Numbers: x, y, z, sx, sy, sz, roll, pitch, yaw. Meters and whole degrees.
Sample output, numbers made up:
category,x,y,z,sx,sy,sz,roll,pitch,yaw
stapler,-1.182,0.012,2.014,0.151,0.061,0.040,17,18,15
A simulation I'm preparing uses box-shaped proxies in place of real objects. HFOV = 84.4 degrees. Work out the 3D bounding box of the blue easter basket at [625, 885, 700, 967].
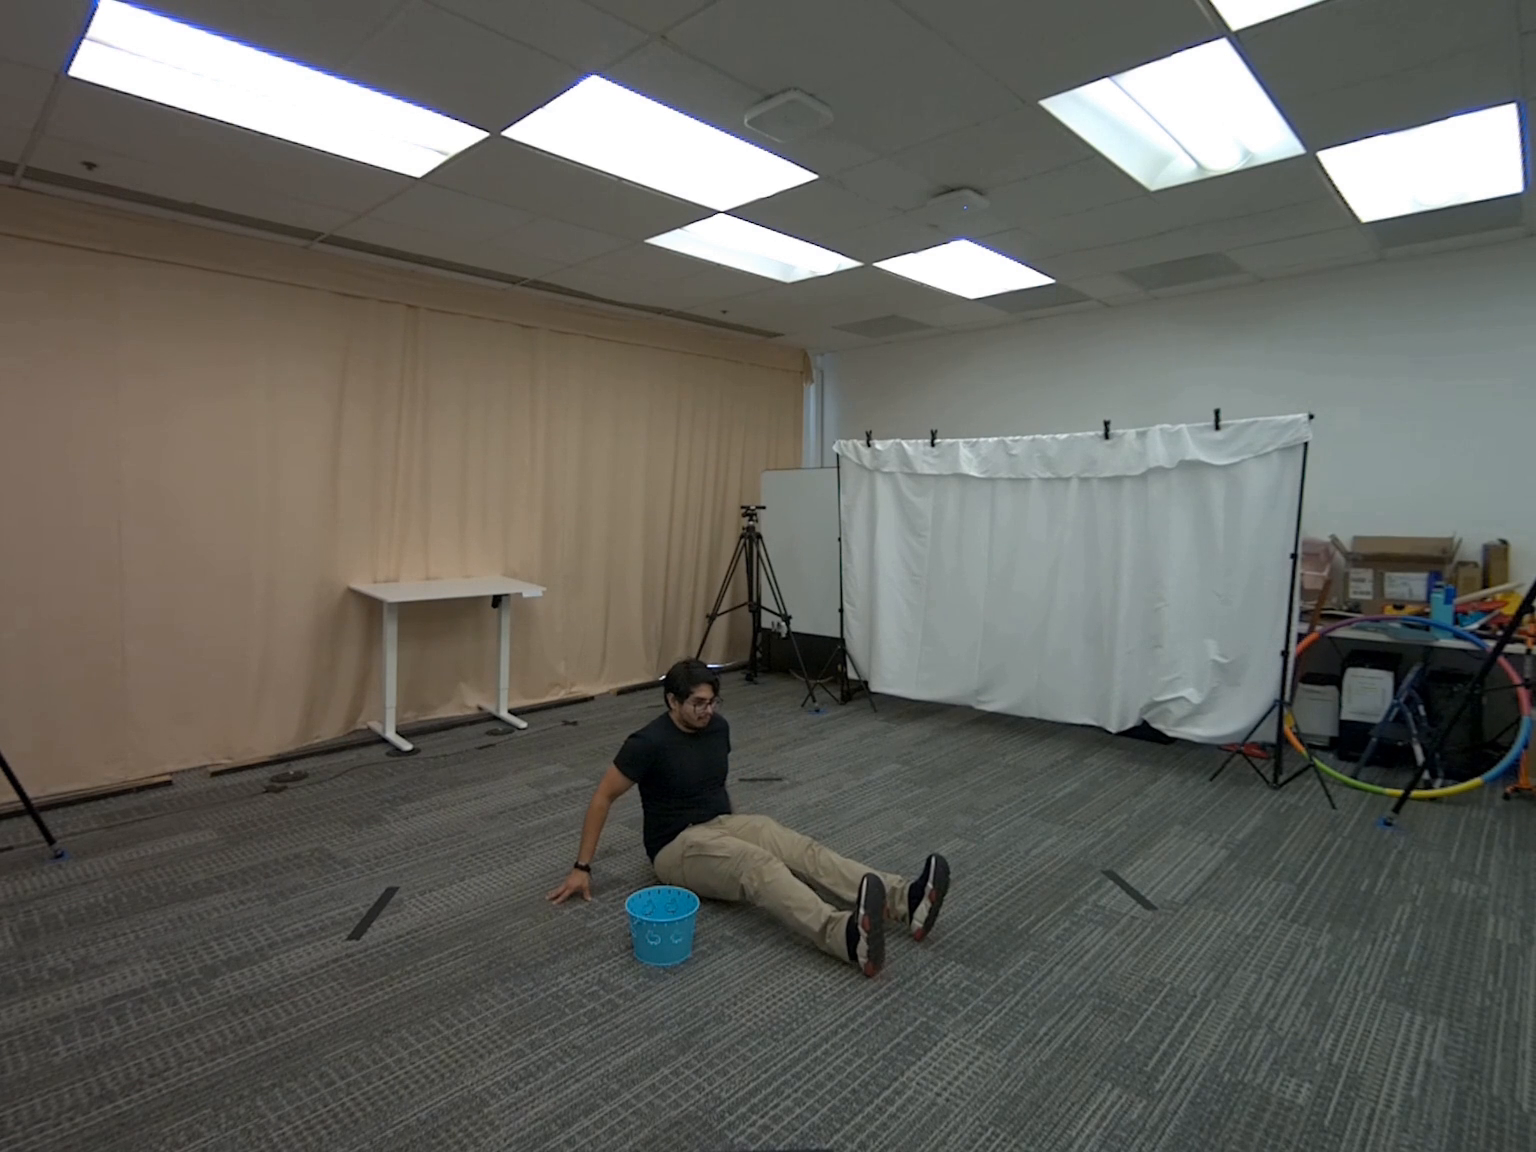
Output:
category,x,y,z,sx,sy,sz,roll,pitch,yaw
blue easter basket,-0.336,1.091,2.644,0.243,0.155,0.244,-1,4,-2
